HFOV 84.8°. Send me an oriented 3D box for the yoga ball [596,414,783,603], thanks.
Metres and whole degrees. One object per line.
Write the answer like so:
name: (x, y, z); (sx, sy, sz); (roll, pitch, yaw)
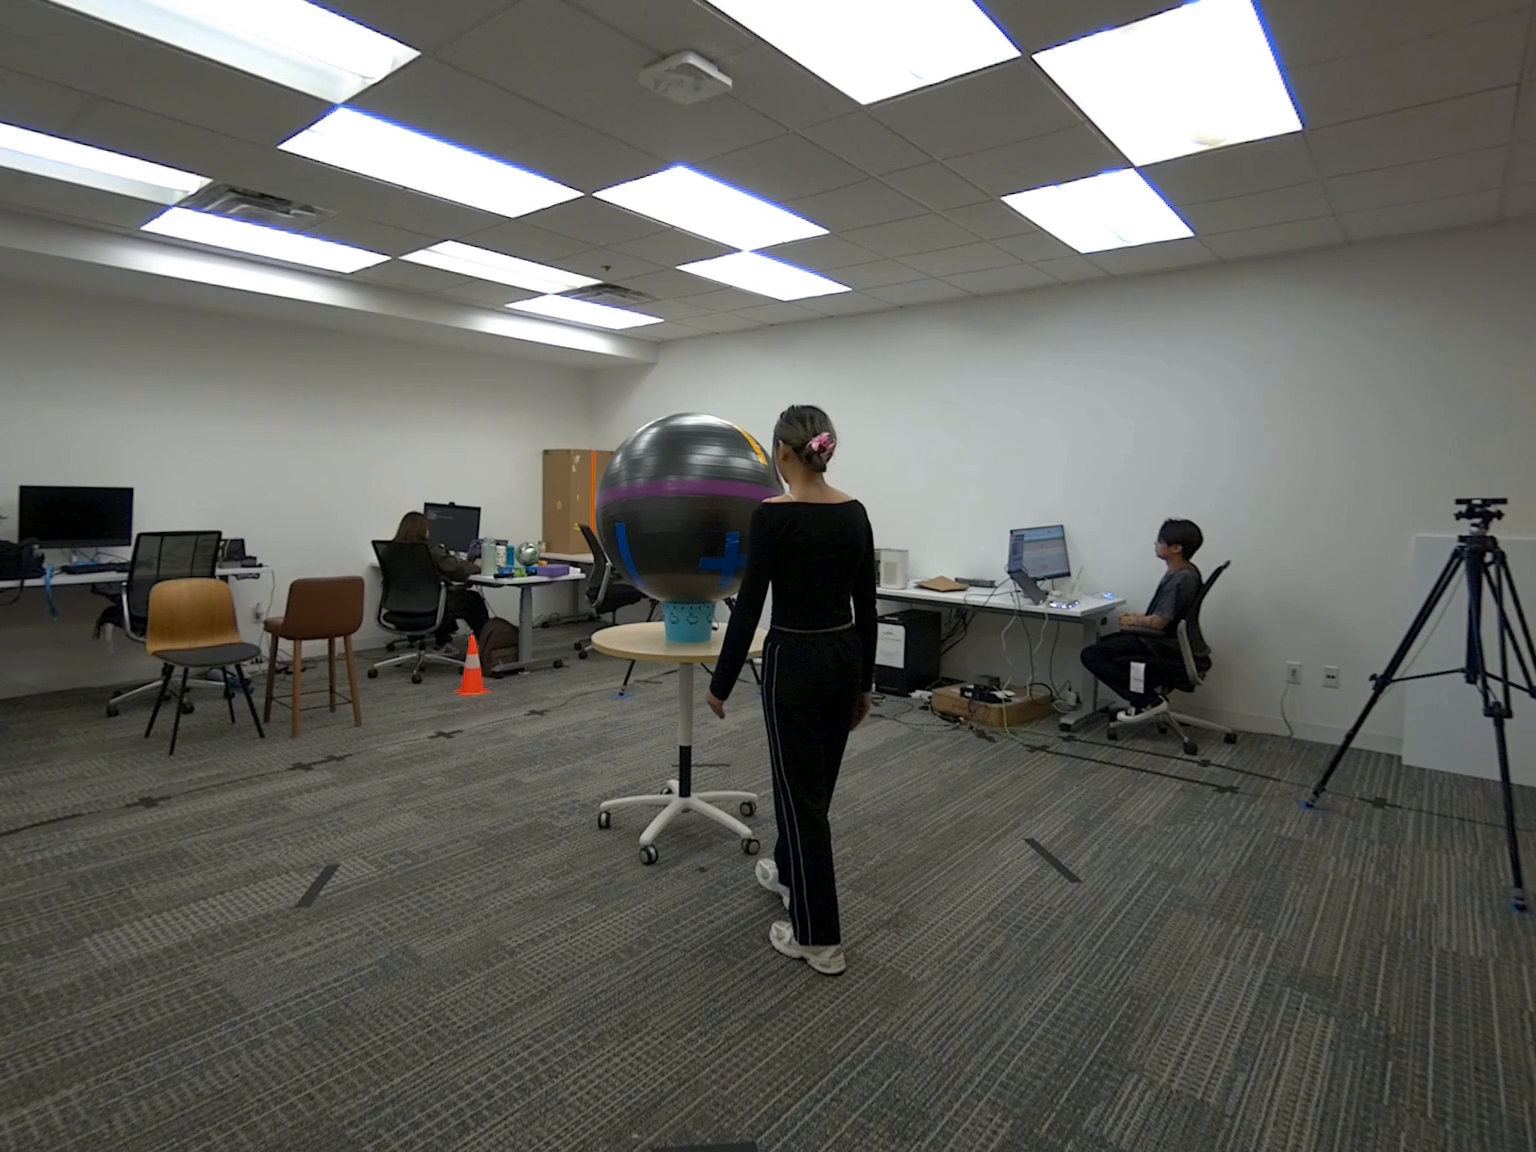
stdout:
yoga ball: (-0.309, -0.259, 3.380); (0.757, 0.756, 0.762); (1, 4, -2)
